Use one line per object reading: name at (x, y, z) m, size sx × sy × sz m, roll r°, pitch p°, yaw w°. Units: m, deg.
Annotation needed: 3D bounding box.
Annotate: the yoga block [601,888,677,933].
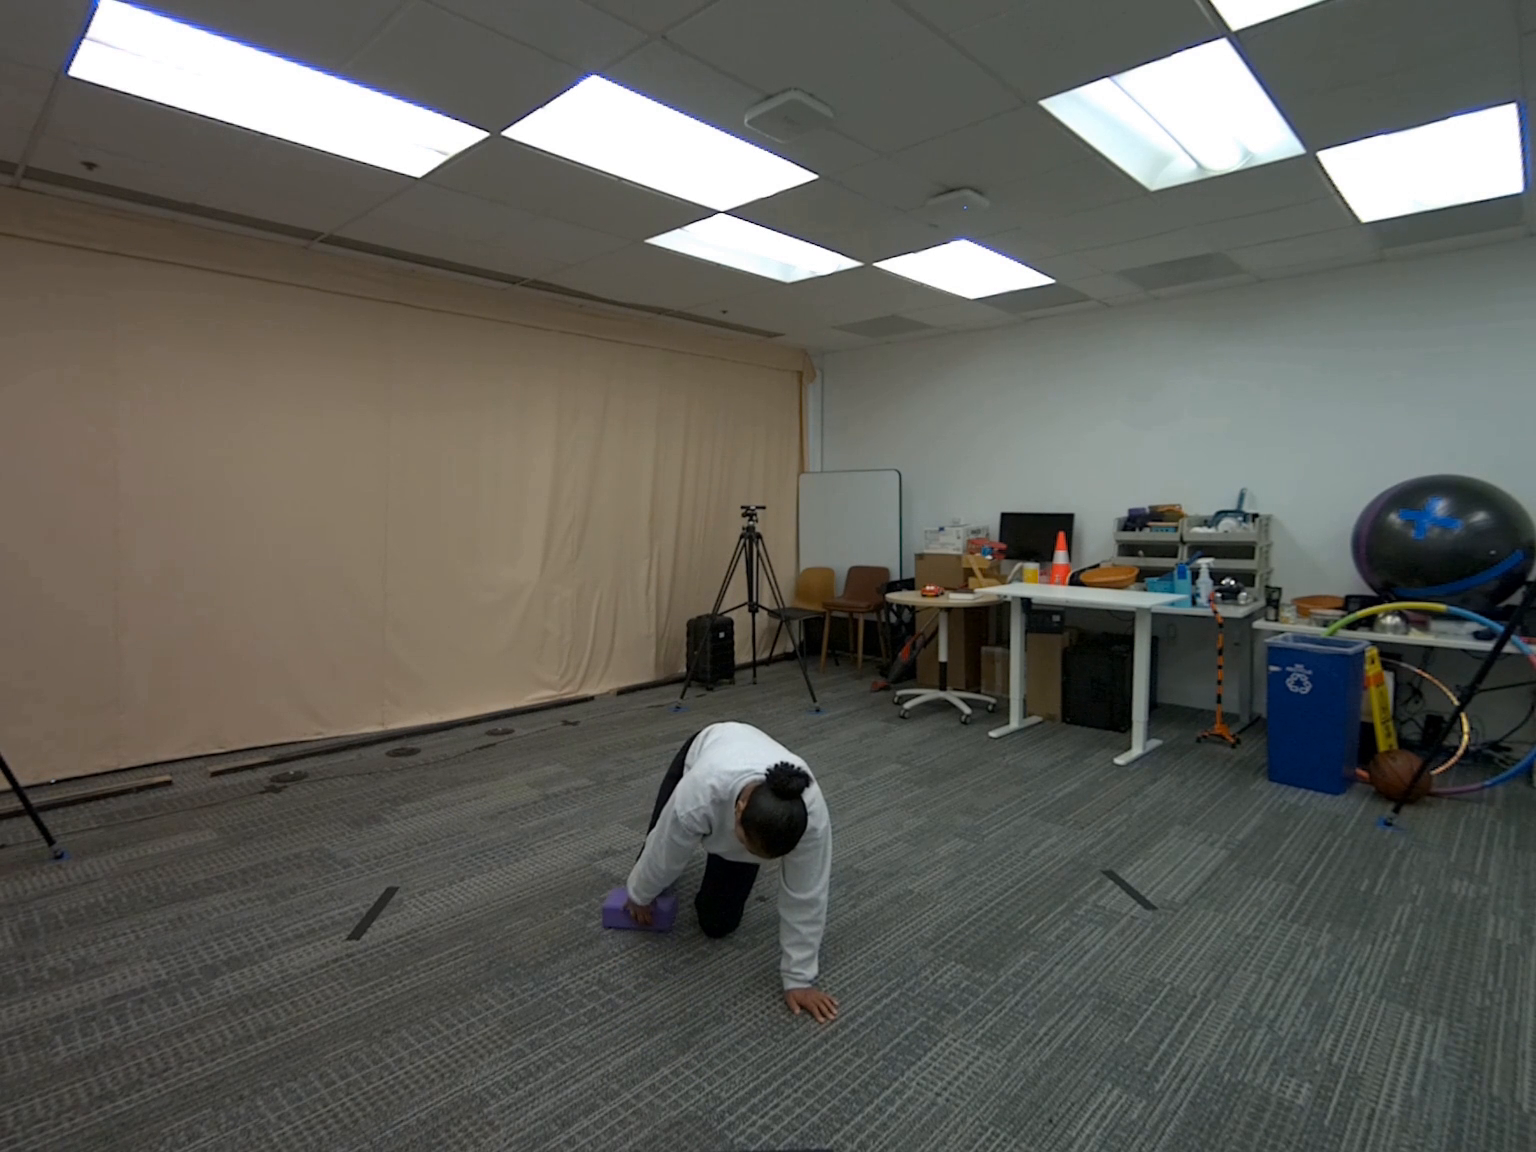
yoga block at (-0.425, 1.122, 2.821) m, size 0.232 × 0.076 × 0.147 m, roll -1°, pitch 3°, yaw 9°
